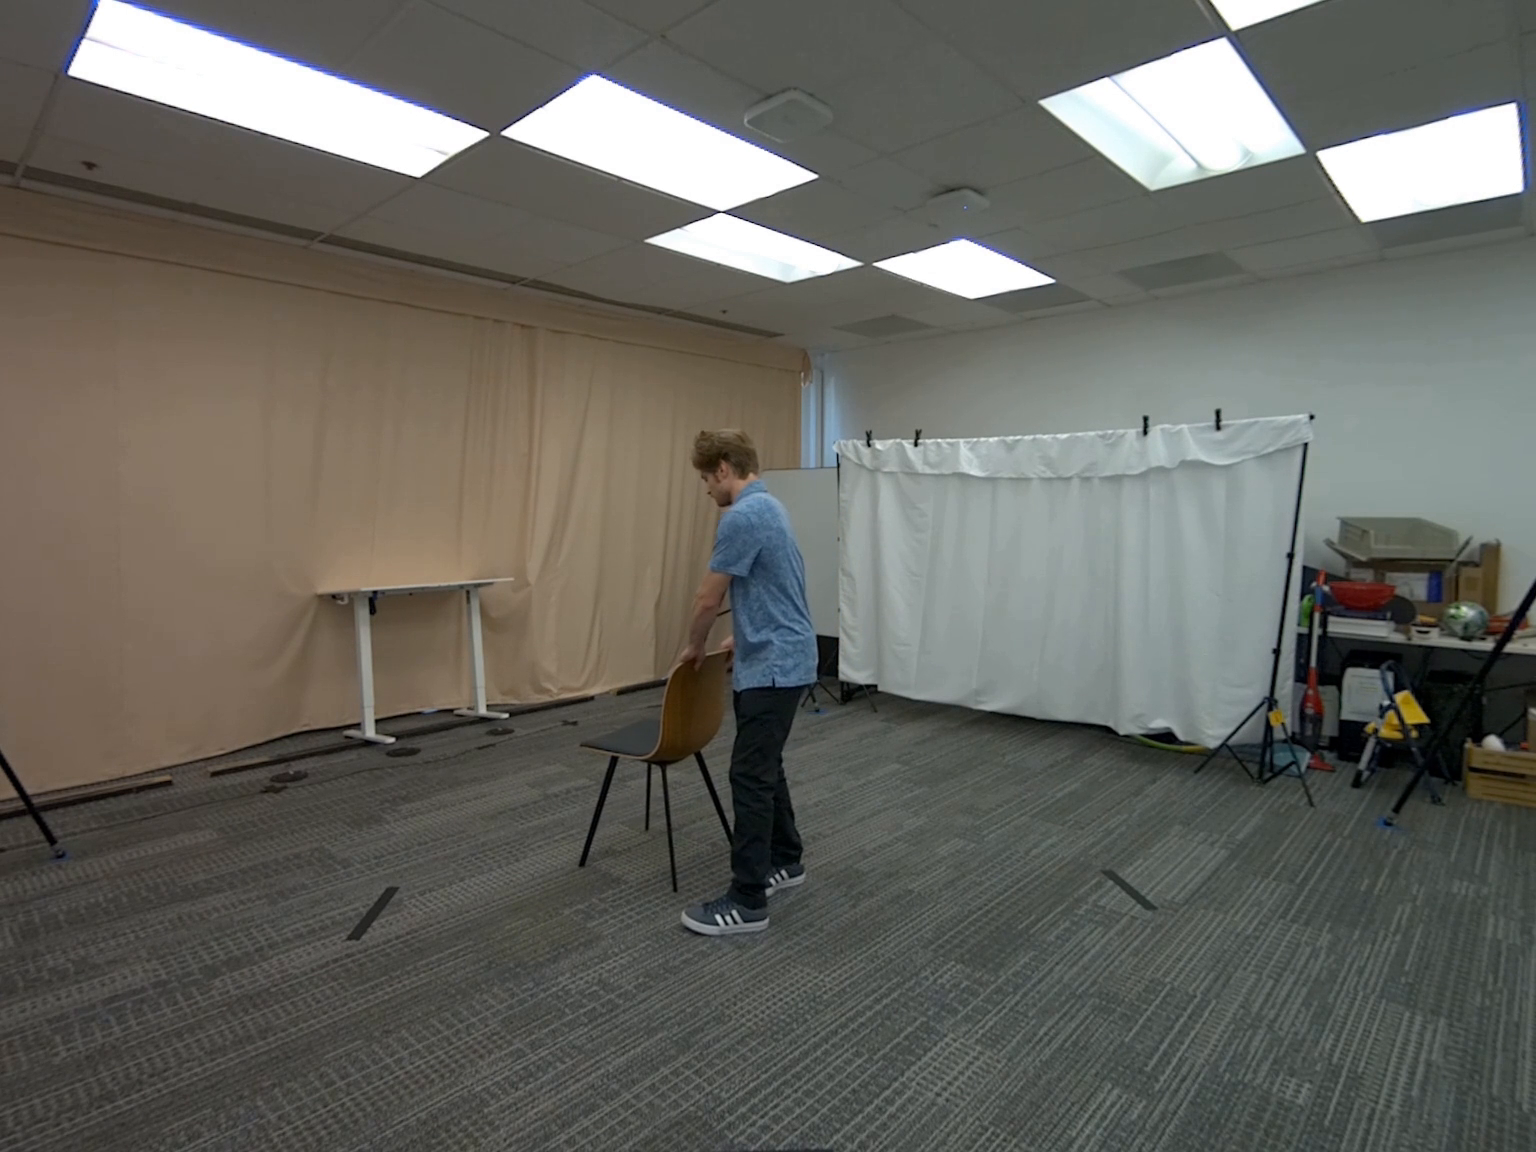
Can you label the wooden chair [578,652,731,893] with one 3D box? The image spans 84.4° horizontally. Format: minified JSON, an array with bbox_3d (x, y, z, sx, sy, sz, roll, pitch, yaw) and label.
[{"bbox_3d":[-0.442,0.690,3.313,0.539,0.874,0.465,7,6,29],"label":"wooden chair"}]
